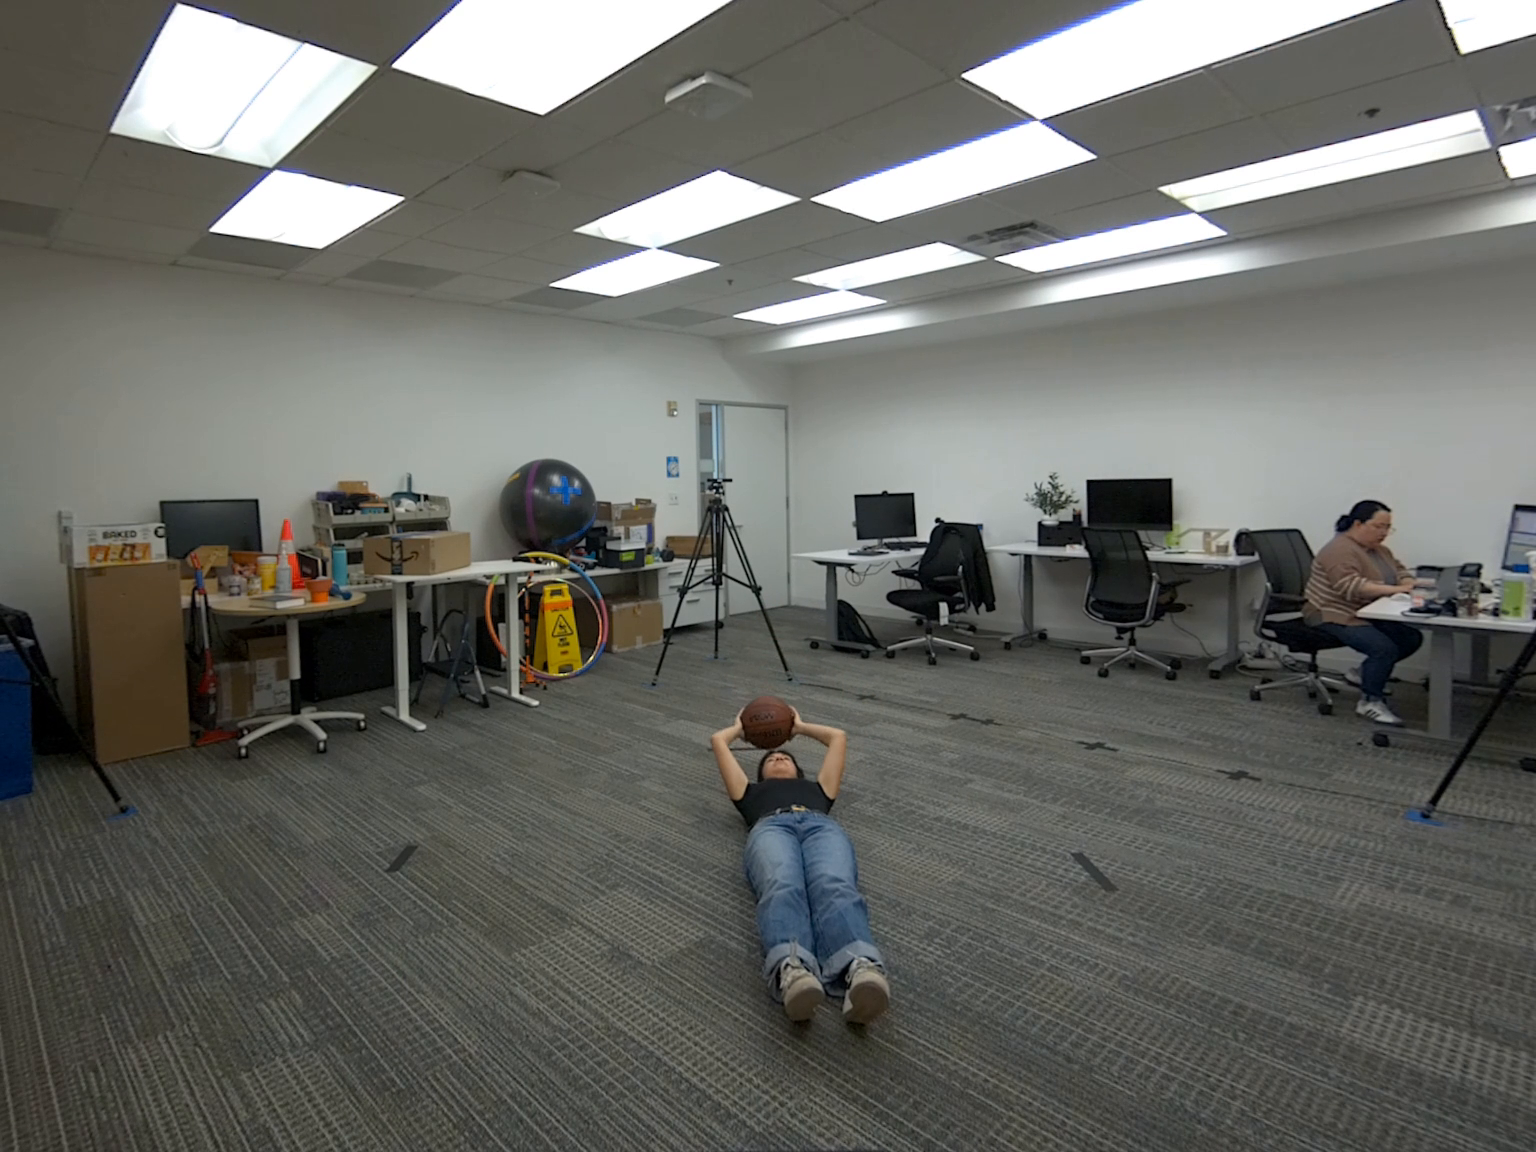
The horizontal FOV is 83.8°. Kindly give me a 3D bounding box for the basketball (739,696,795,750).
[{"bbox_3d":[0.001,0.658,3.874,0.236,0.235,0.237,-1,5,-2],"label":"basketball"}]
